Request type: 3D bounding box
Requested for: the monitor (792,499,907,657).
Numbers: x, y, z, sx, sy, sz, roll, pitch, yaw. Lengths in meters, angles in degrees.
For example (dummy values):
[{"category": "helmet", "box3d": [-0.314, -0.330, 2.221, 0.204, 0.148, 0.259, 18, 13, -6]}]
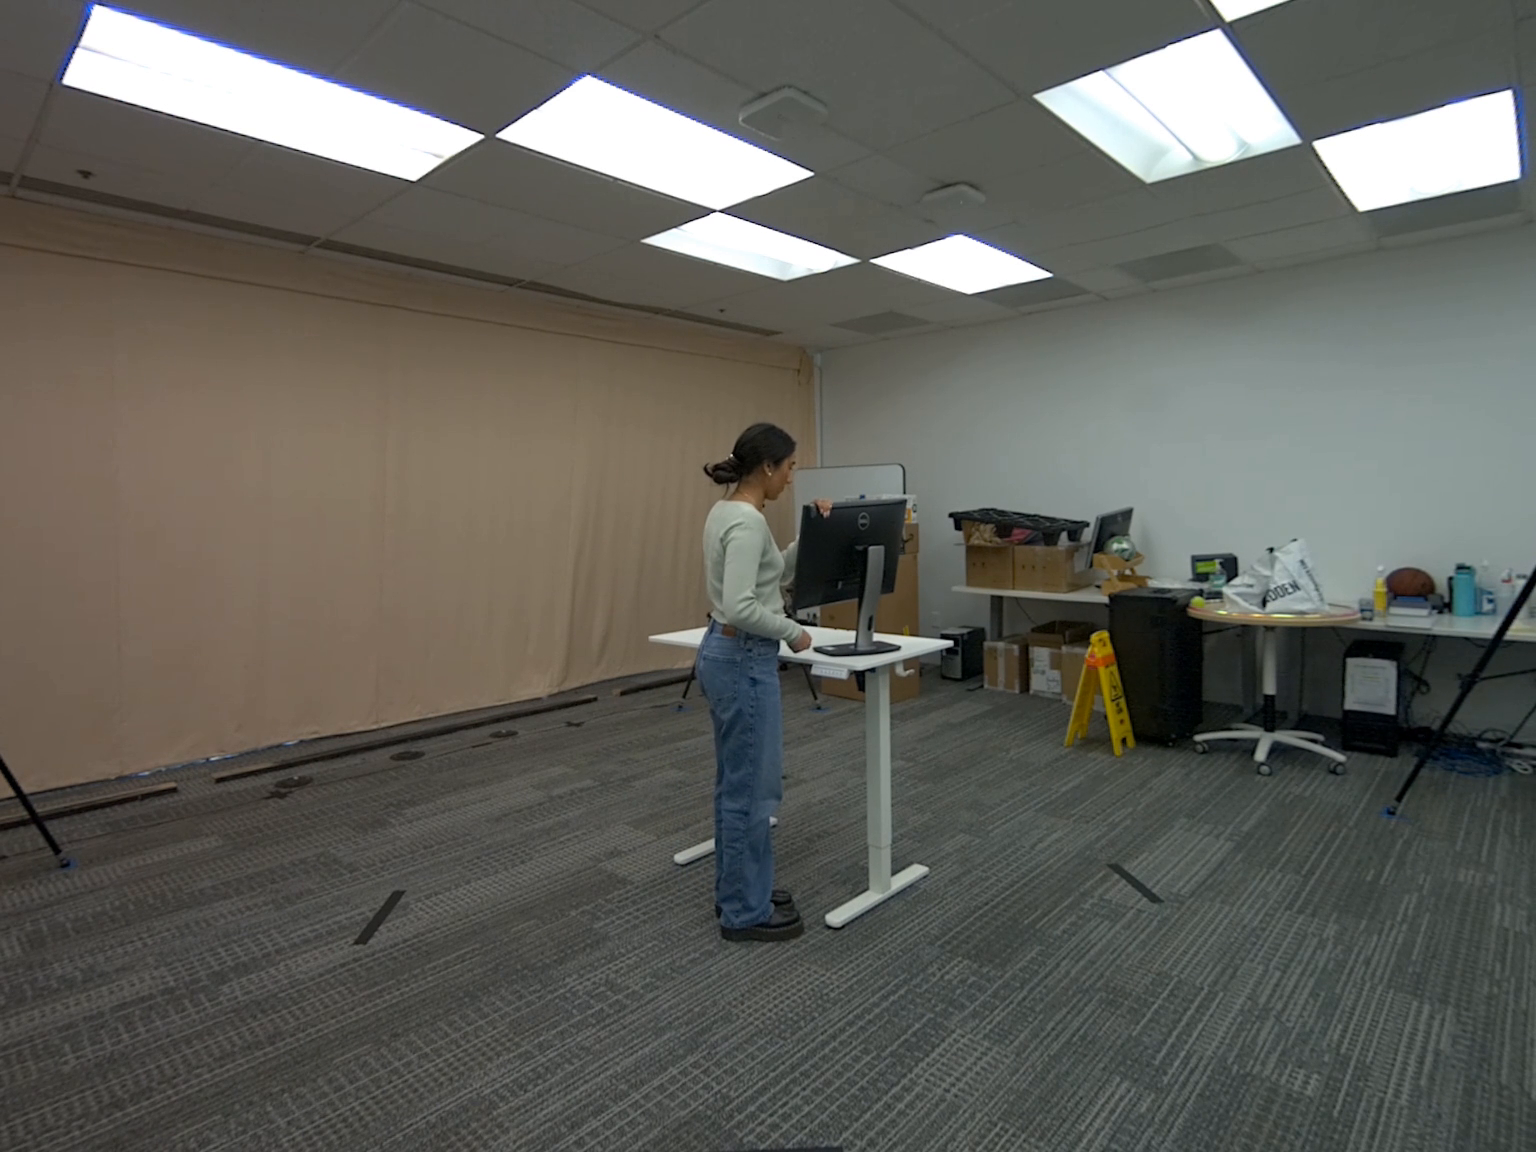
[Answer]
[{"category": "monitor", "box3d": [0.320, 0.008, 2.854, 0.523, 0.521, 0.193, -6, 6, -43]}]
